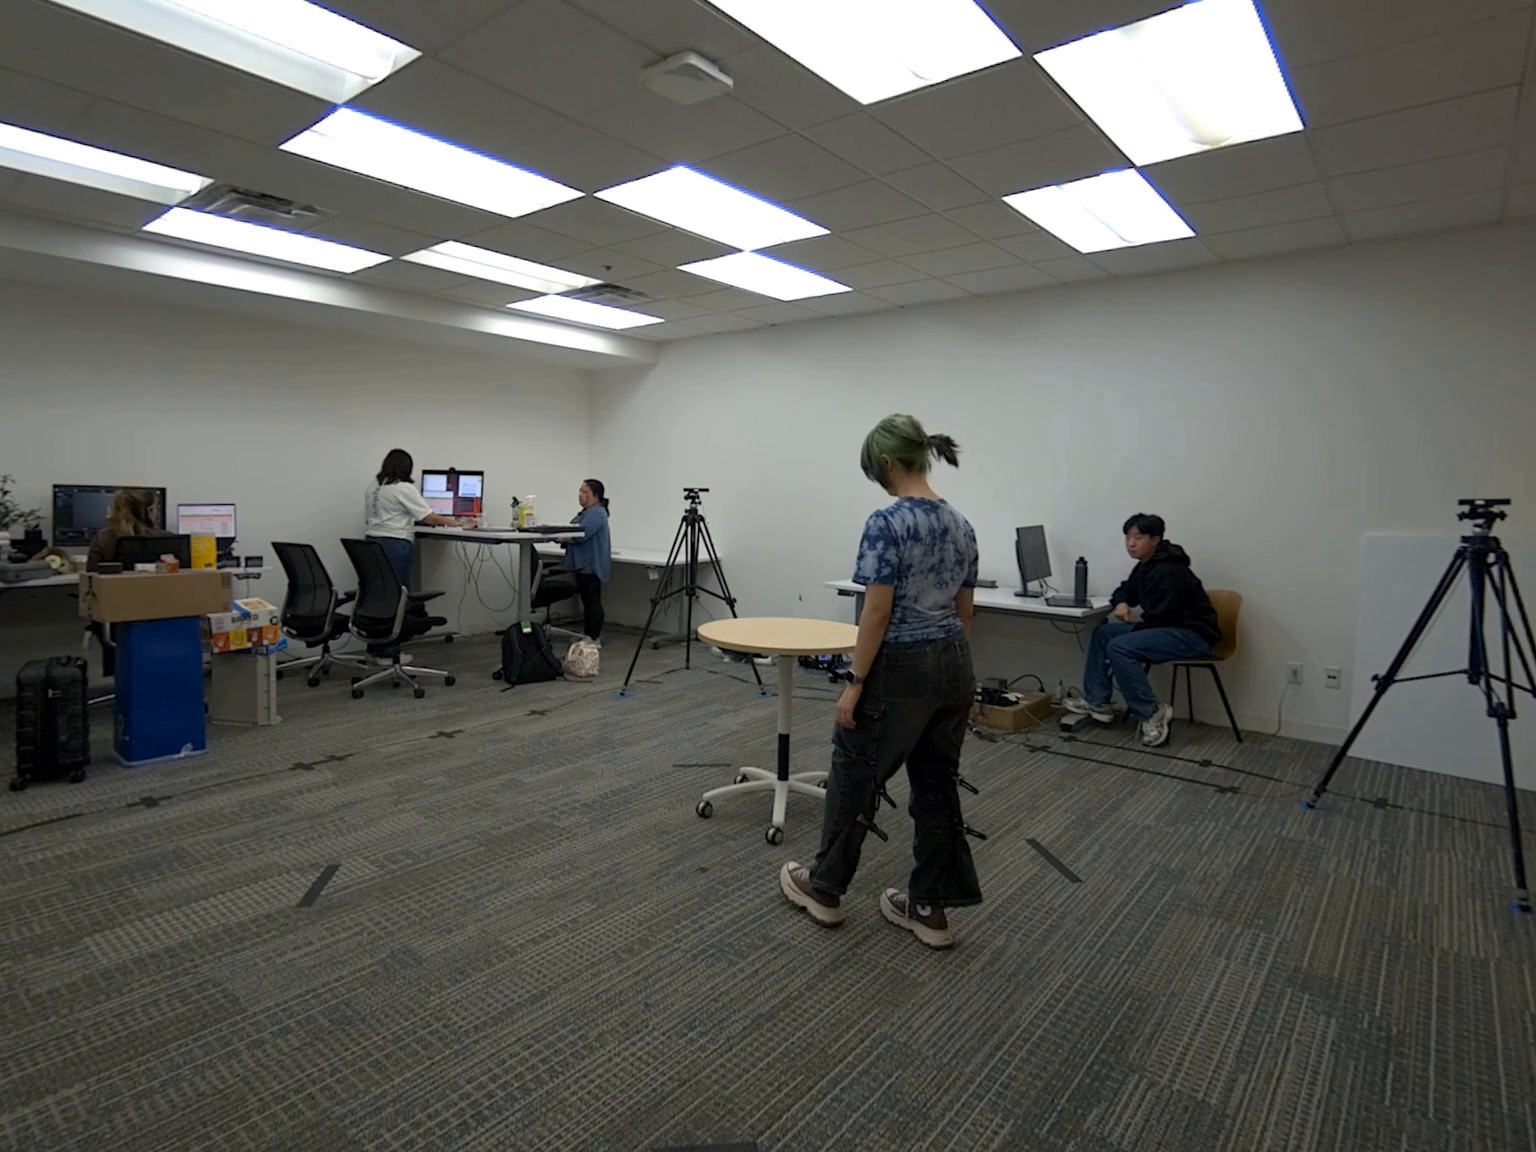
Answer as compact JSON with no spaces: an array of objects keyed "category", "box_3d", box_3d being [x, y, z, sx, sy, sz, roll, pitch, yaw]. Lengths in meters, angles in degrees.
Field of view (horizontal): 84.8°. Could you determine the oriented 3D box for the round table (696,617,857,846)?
[{"category":"round table","box_3d":[0.057,0.632,3.679,0.763,0.791,0.768,1,4,-2]}]
